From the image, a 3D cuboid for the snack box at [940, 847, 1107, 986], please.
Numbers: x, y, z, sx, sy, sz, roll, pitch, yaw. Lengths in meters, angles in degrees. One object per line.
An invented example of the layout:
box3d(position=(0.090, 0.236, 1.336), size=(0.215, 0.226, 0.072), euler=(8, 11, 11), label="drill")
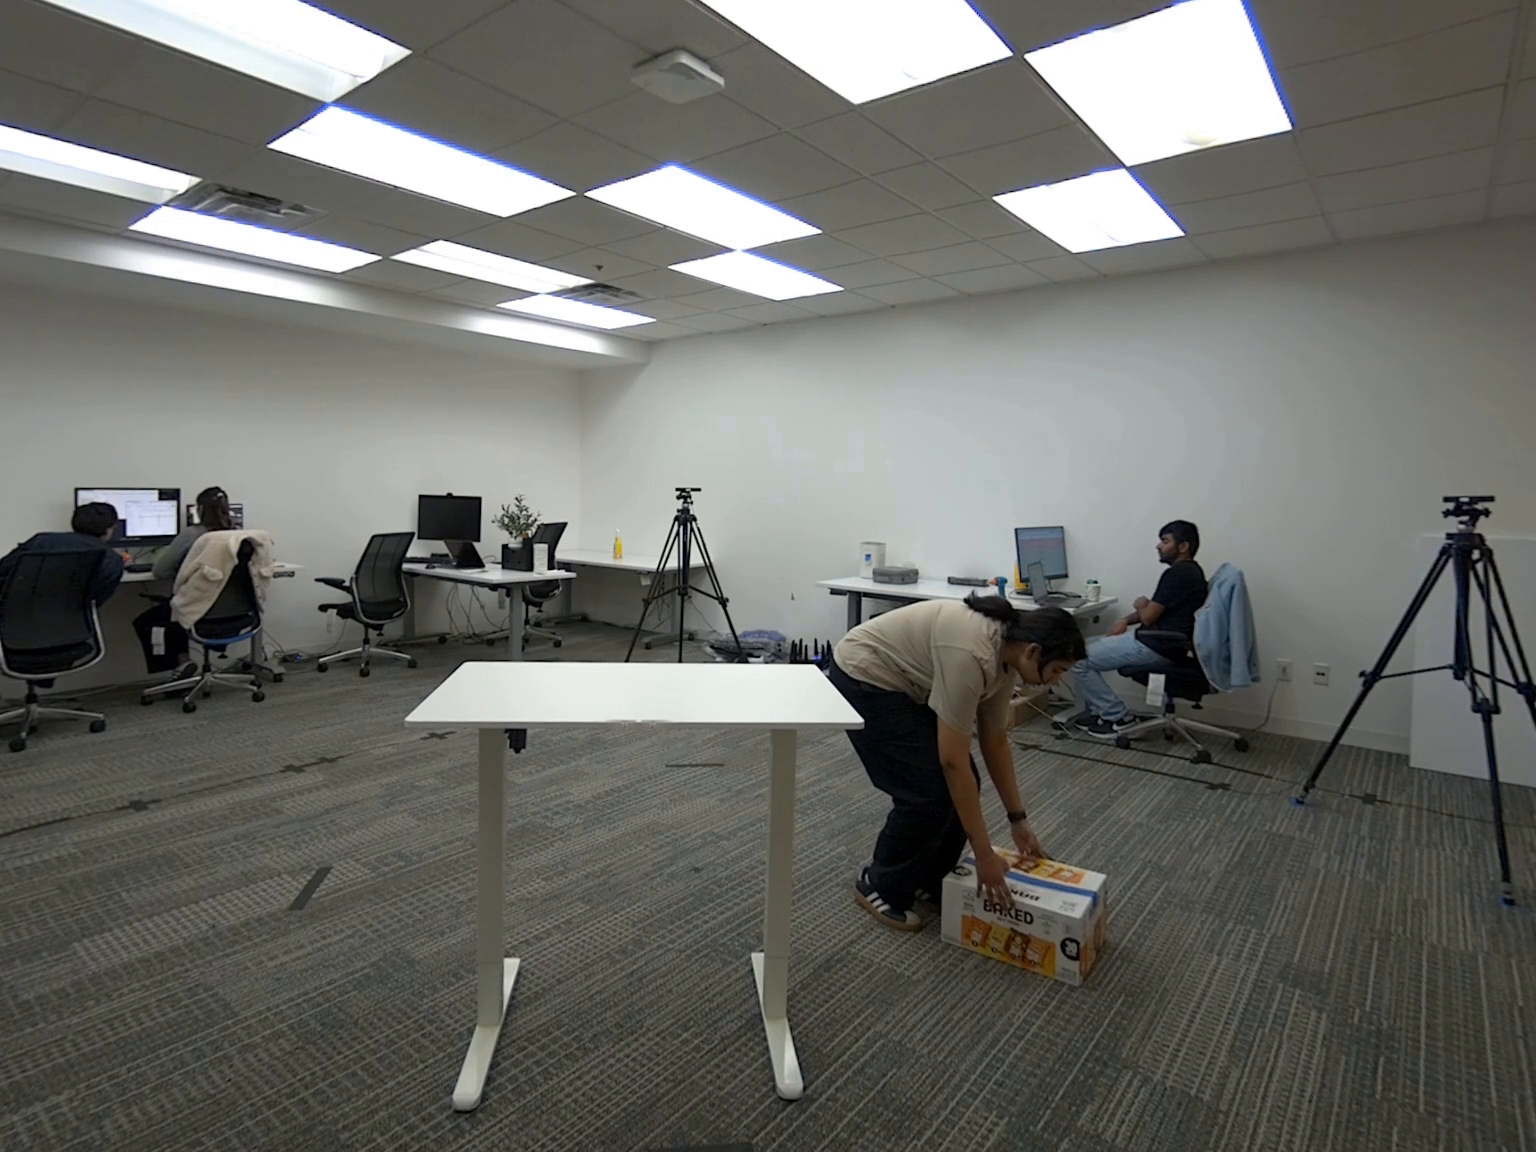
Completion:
box3d(position=(0.797, 1.033, 2.648), size=(0.418, 0.205, 0.331), euler=(4, 6, 34), label="snack box")
